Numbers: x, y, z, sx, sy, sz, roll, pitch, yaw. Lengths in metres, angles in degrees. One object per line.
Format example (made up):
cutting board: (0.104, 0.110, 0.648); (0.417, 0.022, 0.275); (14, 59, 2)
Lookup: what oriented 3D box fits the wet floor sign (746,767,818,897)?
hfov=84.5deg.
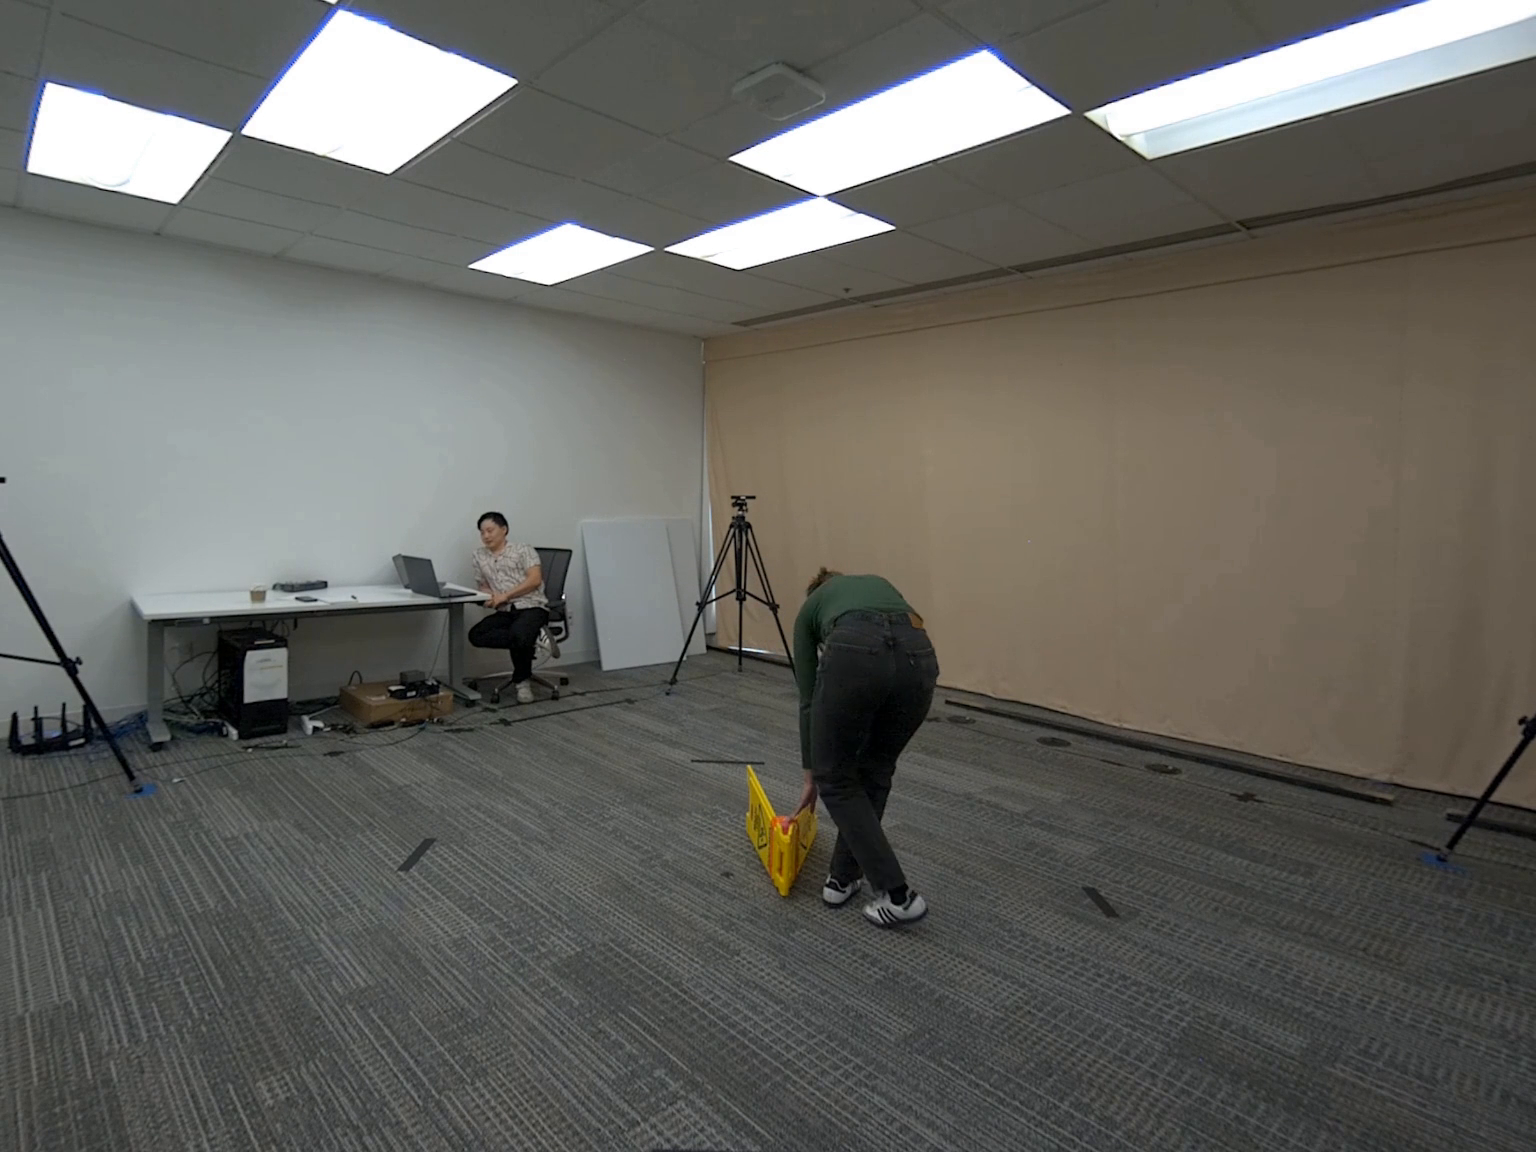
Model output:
wet floor sign: (0.052, 0.964, 3.199); (0.290, 0.281, 0.649); (1, 7, 0)
